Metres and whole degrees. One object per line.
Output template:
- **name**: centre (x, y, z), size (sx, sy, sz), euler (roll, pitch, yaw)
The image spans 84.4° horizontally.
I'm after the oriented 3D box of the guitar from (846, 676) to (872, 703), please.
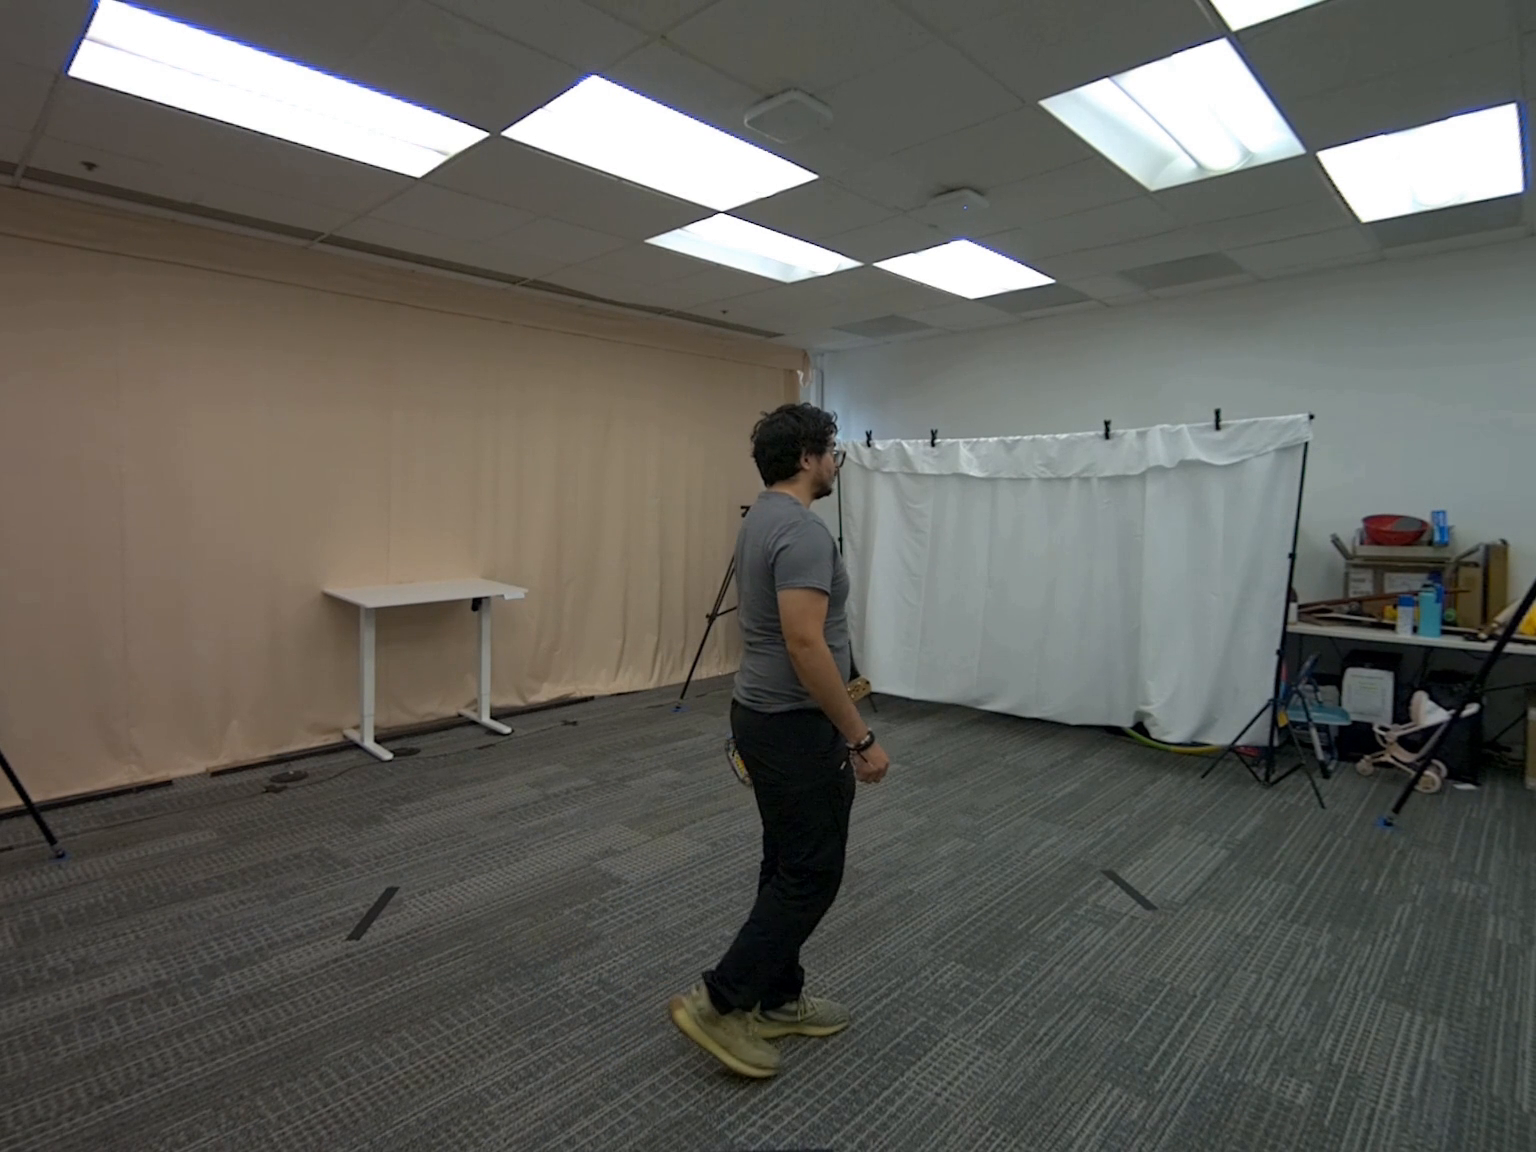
- **guitar**: centre (0.111, 0.488, 2.546), size (0.502, 0.196, 0.069), euler (-24, -20, 11)
